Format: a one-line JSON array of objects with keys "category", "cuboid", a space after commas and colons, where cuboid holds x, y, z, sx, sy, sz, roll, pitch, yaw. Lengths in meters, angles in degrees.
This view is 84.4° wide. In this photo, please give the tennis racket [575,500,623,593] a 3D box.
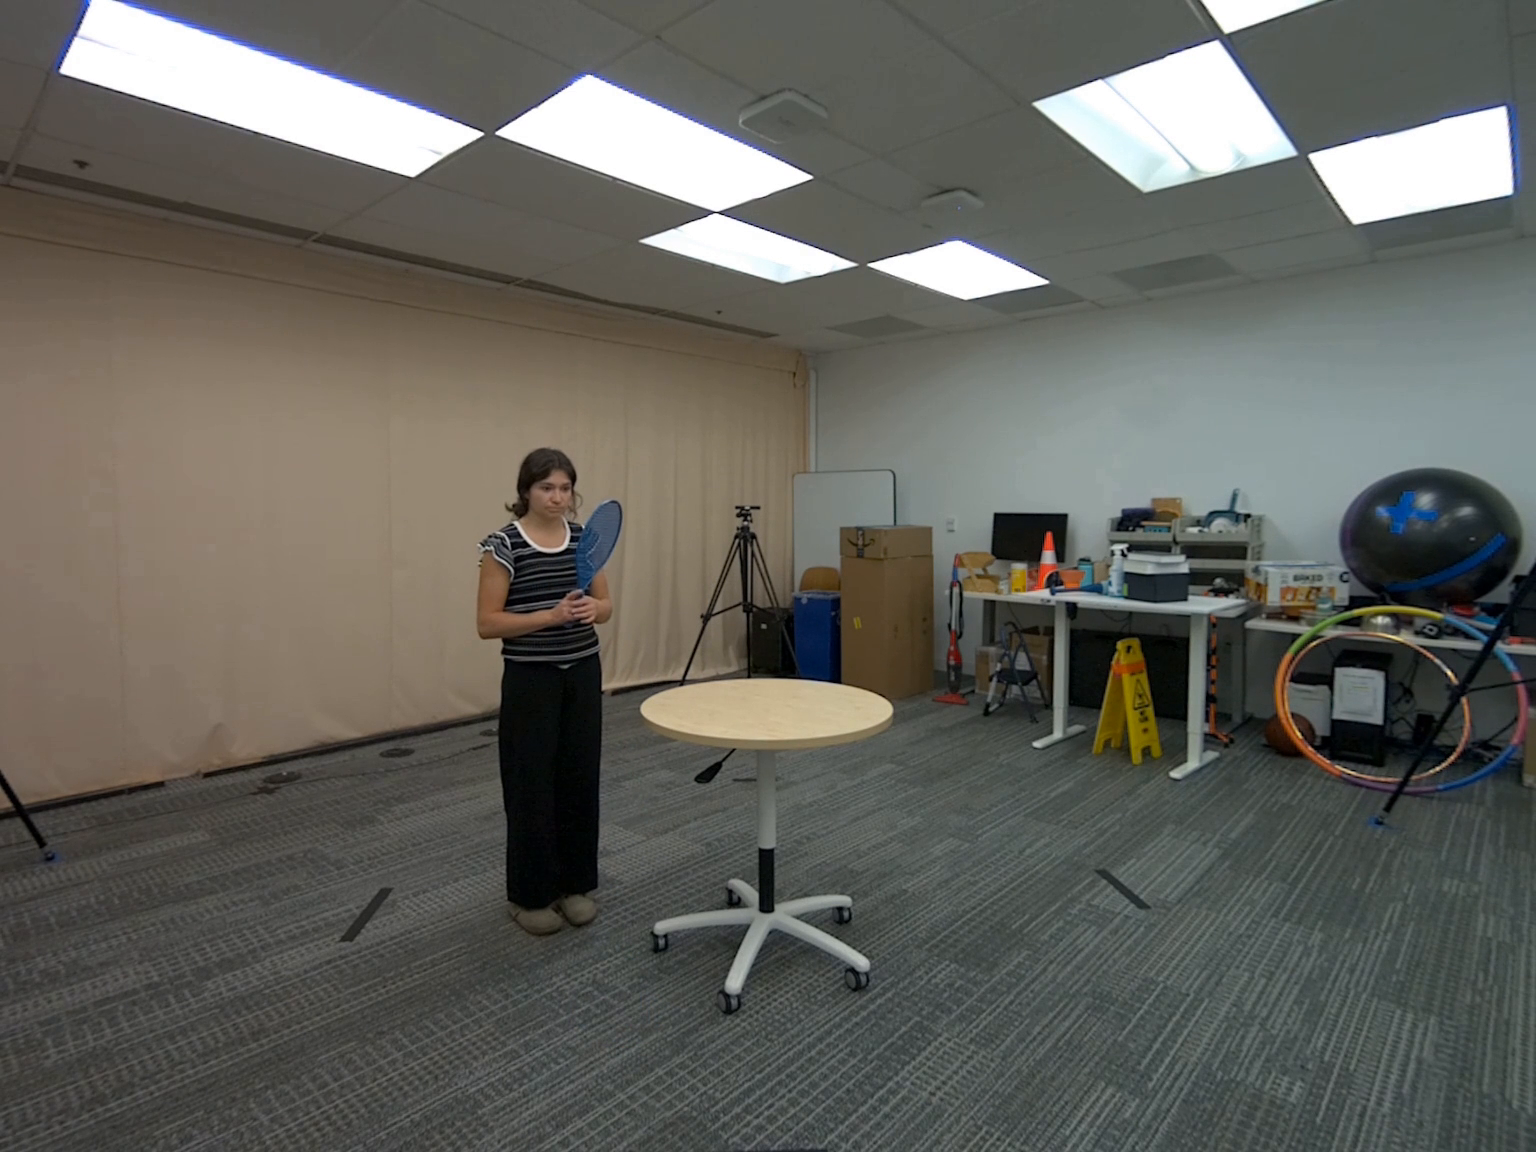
[{"category": "tennis racket", "cuboid": [-0.572, -0.042, 2.679, 0.032, 0.431, 0.210, 24, 14, 17]}]
